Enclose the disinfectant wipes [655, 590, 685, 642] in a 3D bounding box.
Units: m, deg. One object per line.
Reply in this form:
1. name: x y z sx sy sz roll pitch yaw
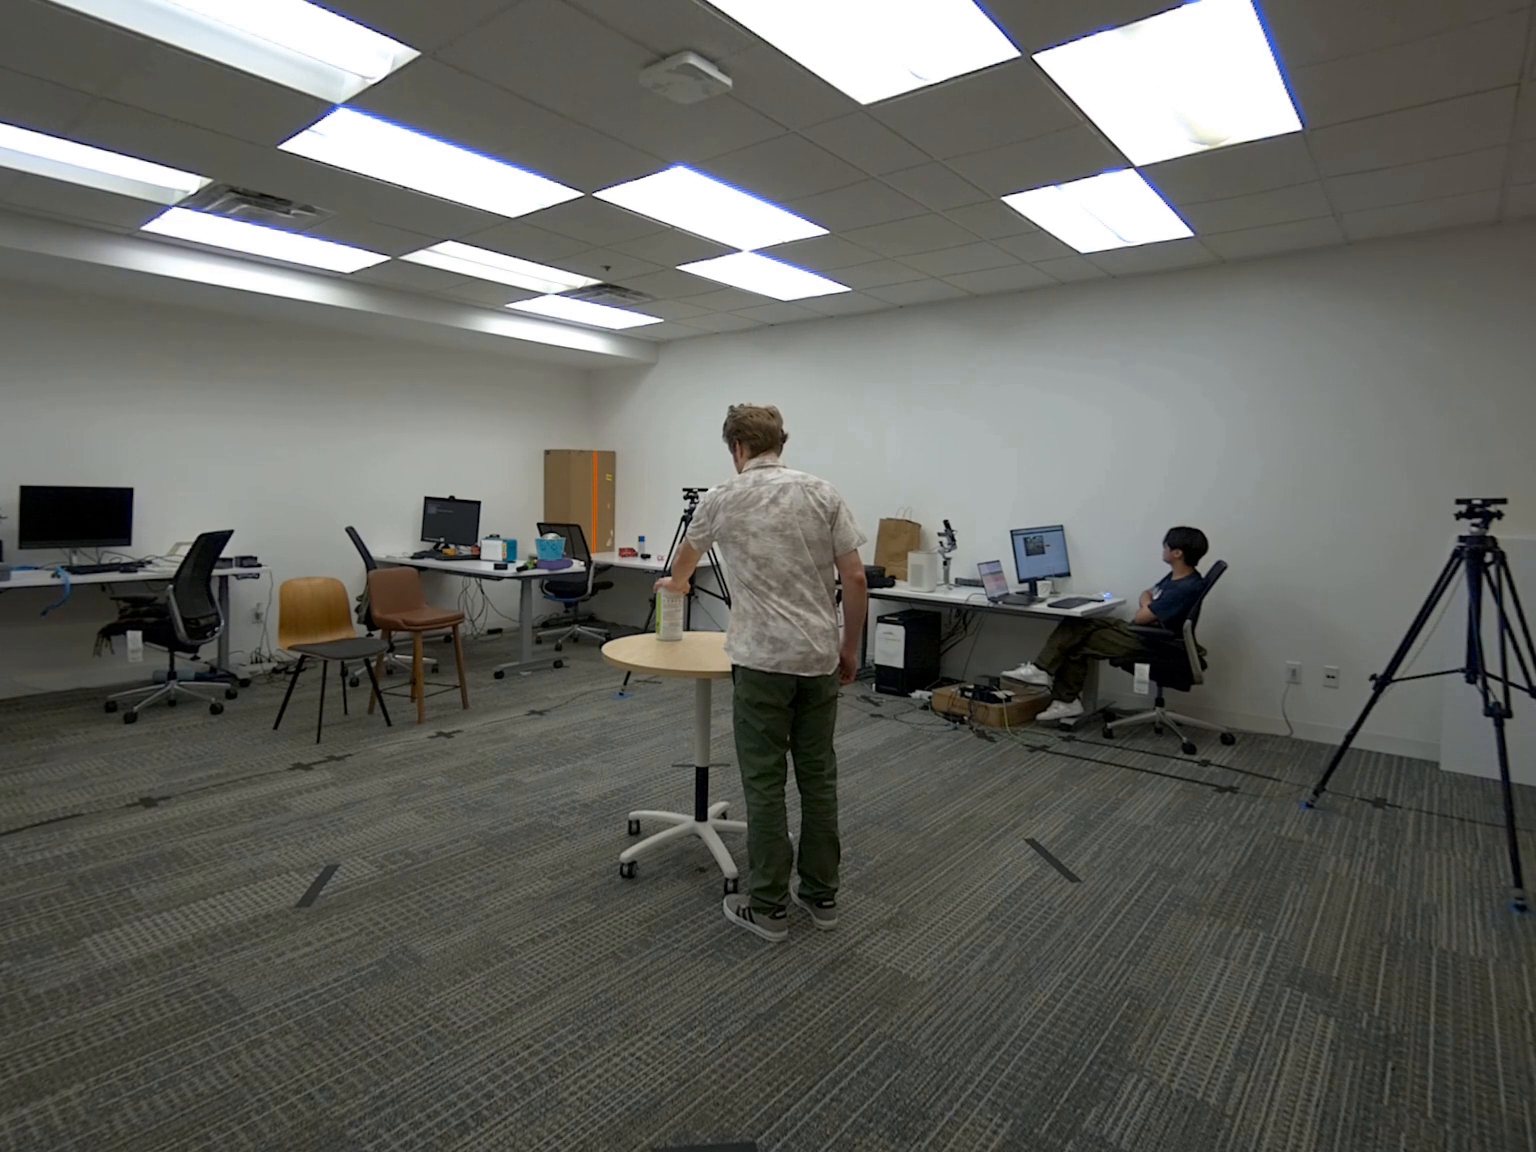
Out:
1. disinfectant wipes: -0.398 0.140 3.375 0.118 0.216 0.118 0 4 -2
